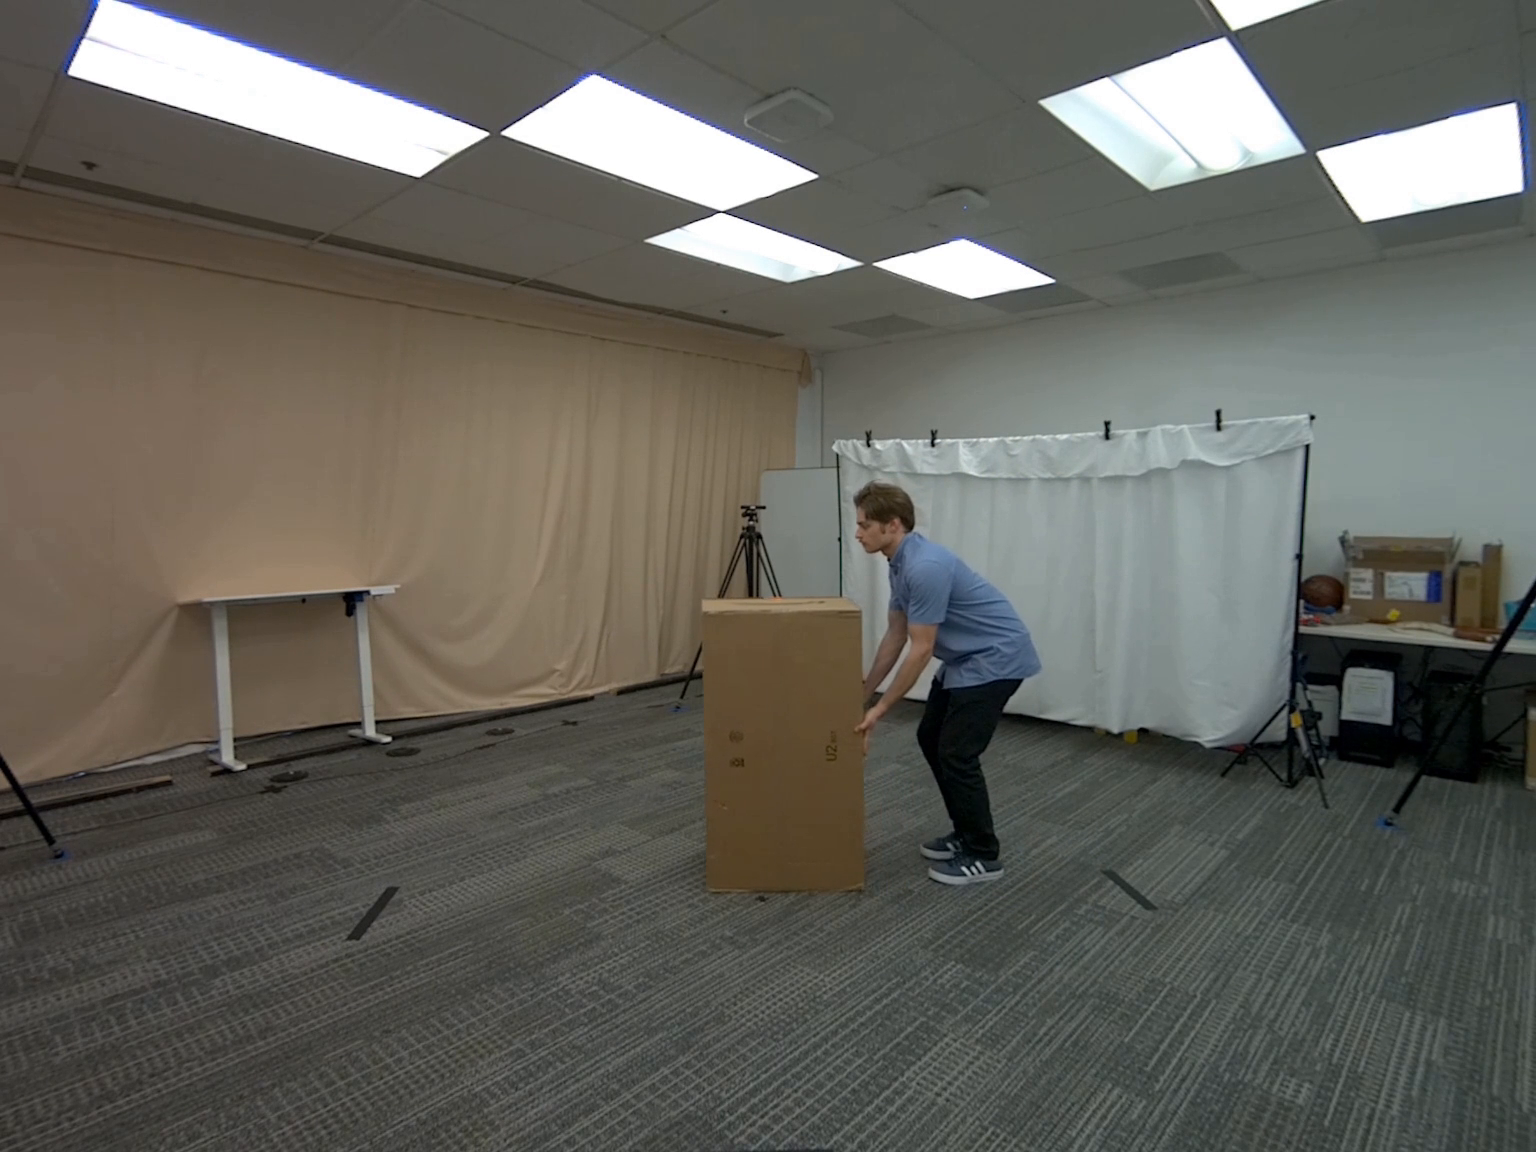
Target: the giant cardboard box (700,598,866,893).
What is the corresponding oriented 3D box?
[{"bbox_3d":[0.046,0.618,3.228,0.577,1.024,0.427,-1,3,-1],"label":"giant cardboard box"}]
